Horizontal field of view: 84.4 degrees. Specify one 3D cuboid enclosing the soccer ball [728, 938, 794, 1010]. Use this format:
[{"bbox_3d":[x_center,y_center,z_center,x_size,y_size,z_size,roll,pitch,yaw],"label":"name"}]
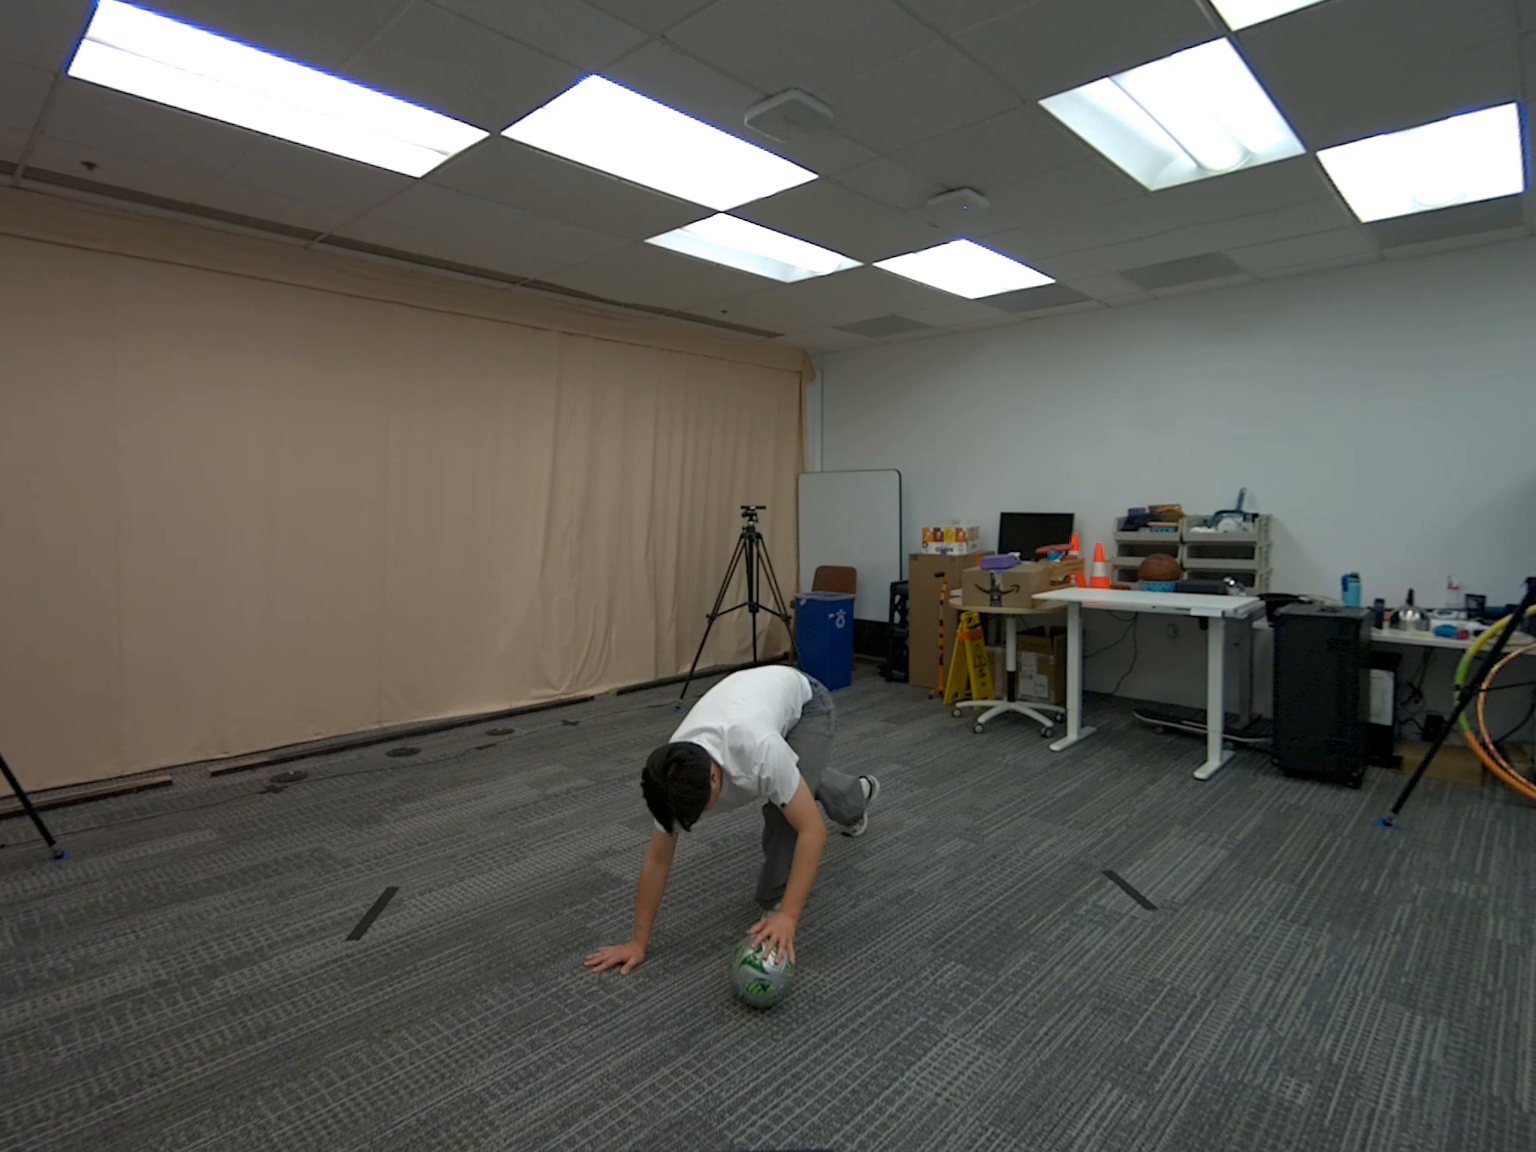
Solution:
[{"bbox_3d":[-0.013,1.106,2.350,0.187,0.187,0.188,0,4,-2],"label":"soccer ball"}]
